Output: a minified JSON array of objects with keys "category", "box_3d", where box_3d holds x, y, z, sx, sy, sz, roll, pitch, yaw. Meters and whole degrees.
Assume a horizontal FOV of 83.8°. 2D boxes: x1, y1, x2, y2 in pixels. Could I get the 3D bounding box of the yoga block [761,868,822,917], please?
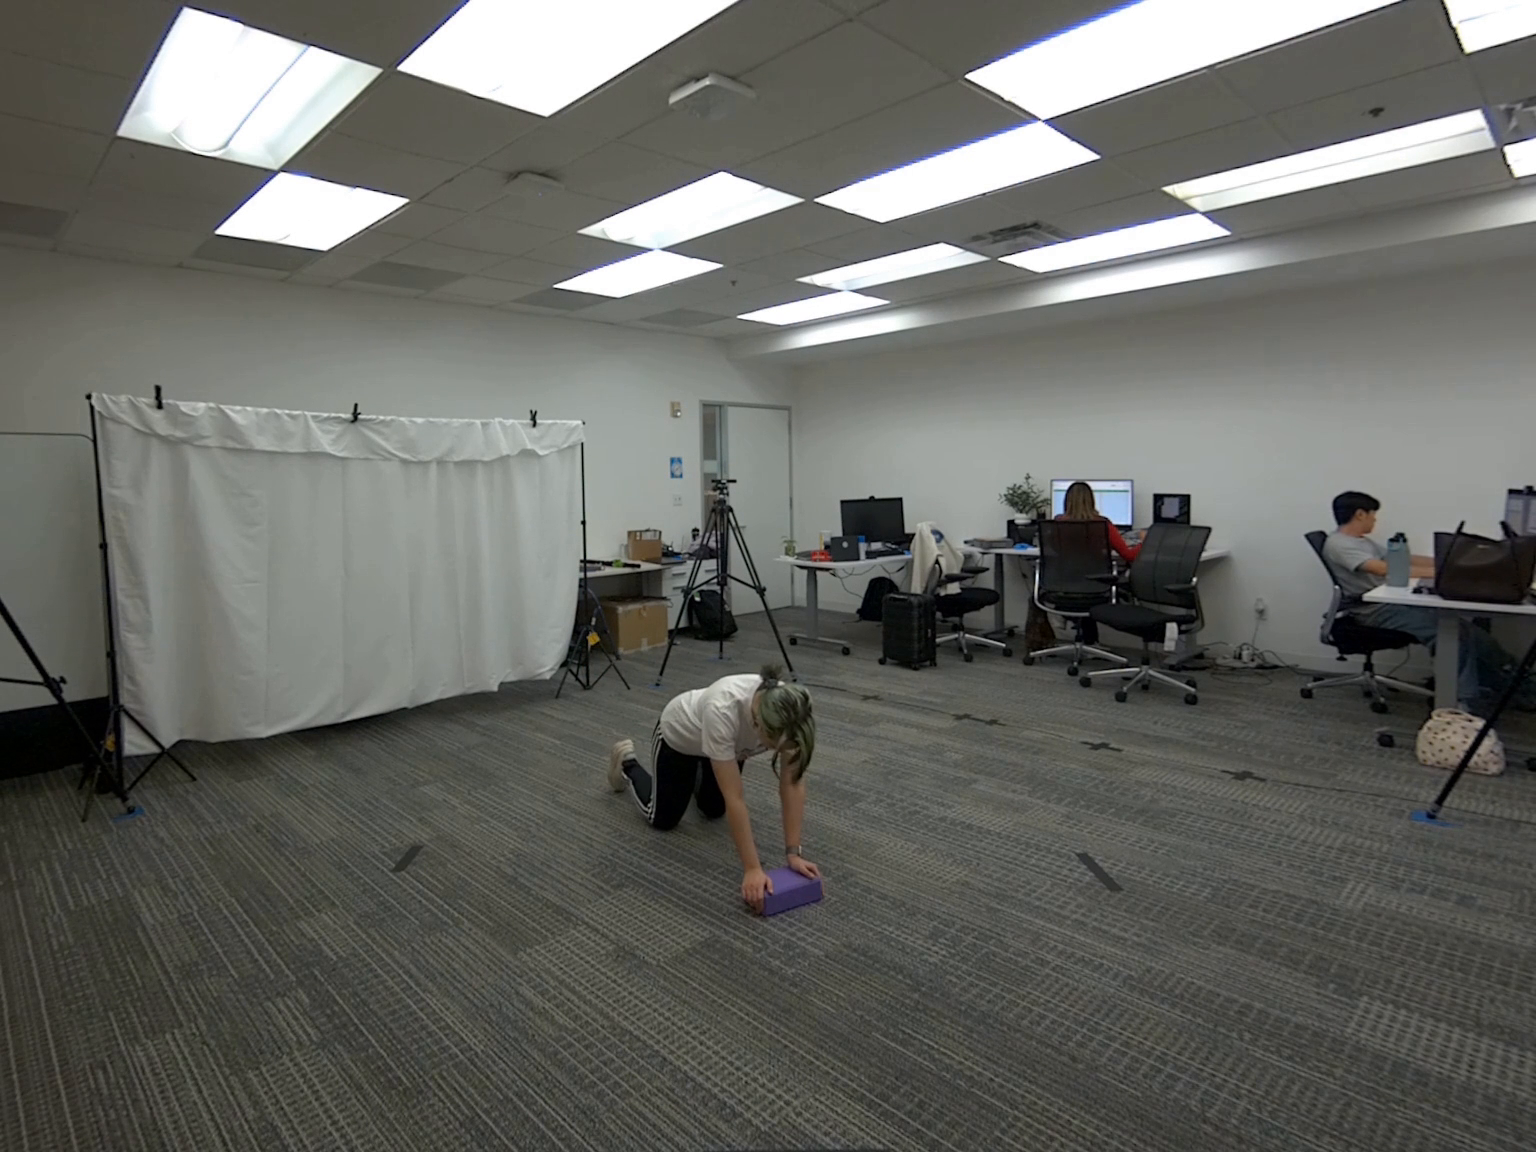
[{"category":"yoga block","box_3d":[0.051,1.037,2.839,0.224,0.076,0.153,-4,7,-32]}]
